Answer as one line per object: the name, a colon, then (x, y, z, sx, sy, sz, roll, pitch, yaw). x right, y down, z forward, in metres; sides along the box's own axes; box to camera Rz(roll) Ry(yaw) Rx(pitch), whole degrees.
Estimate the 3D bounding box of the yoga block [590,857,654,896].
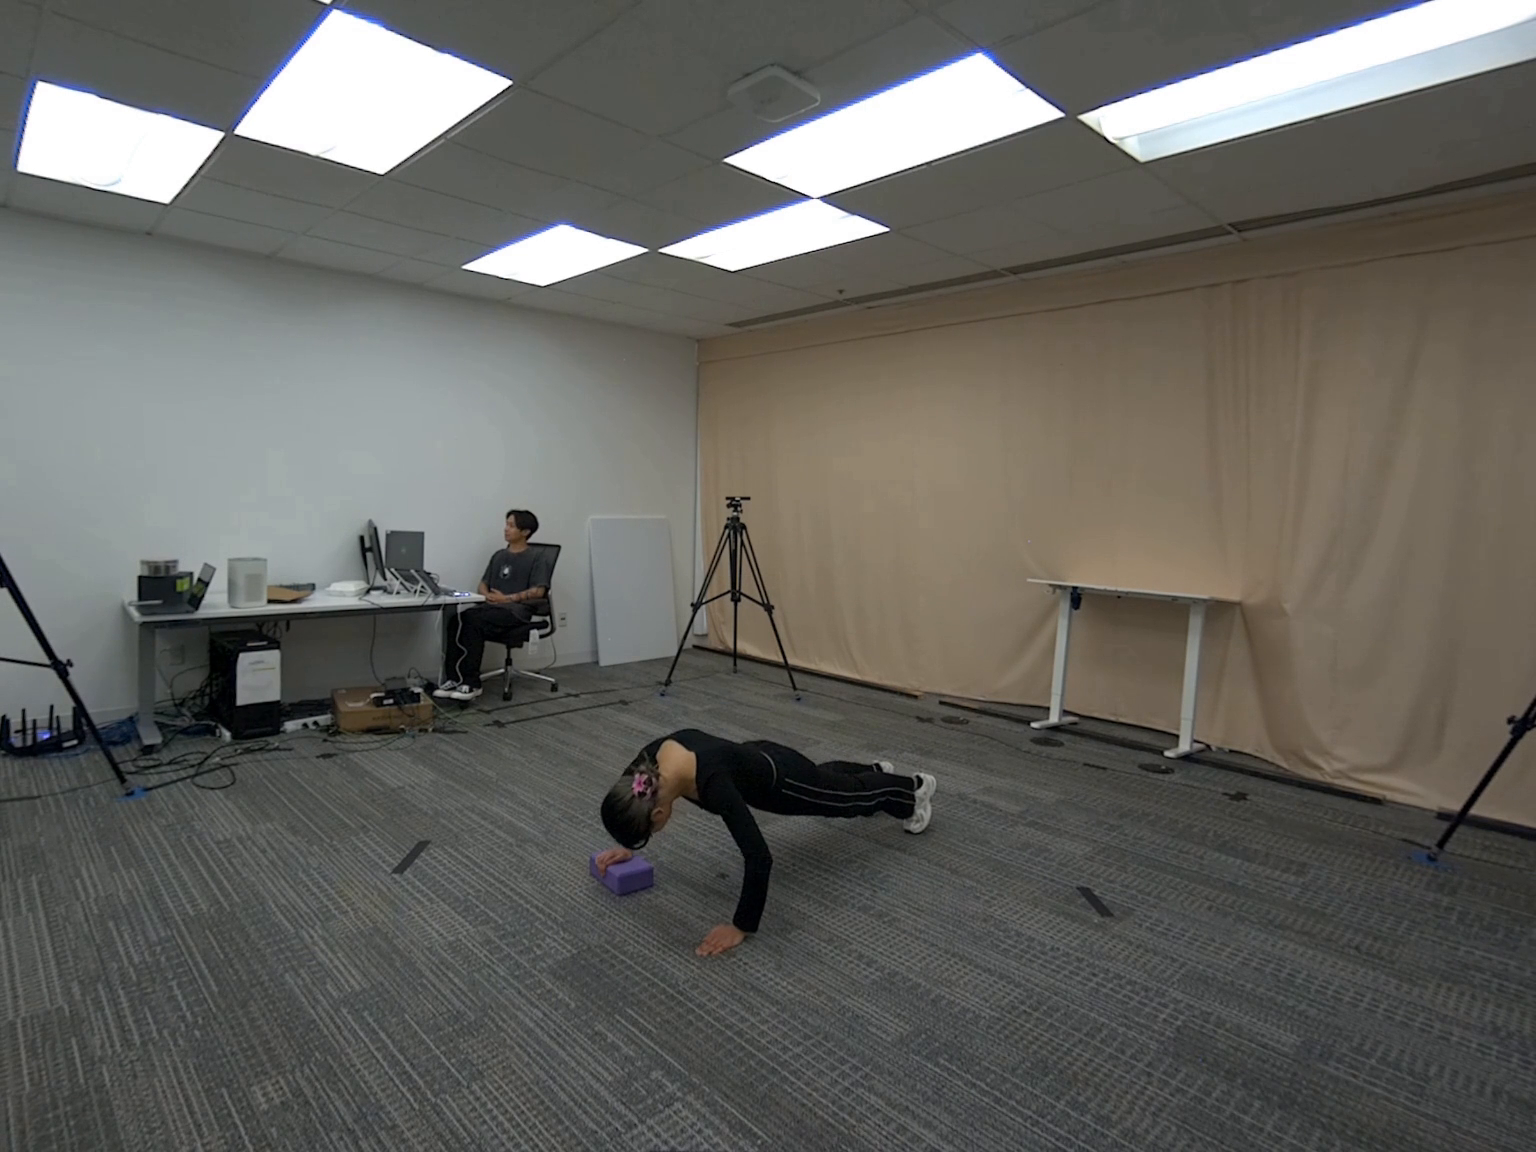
yoga block: (-0.539, 1.068, 3.049, 0.146, 0.076, 0.235, -2, 5, -37)
